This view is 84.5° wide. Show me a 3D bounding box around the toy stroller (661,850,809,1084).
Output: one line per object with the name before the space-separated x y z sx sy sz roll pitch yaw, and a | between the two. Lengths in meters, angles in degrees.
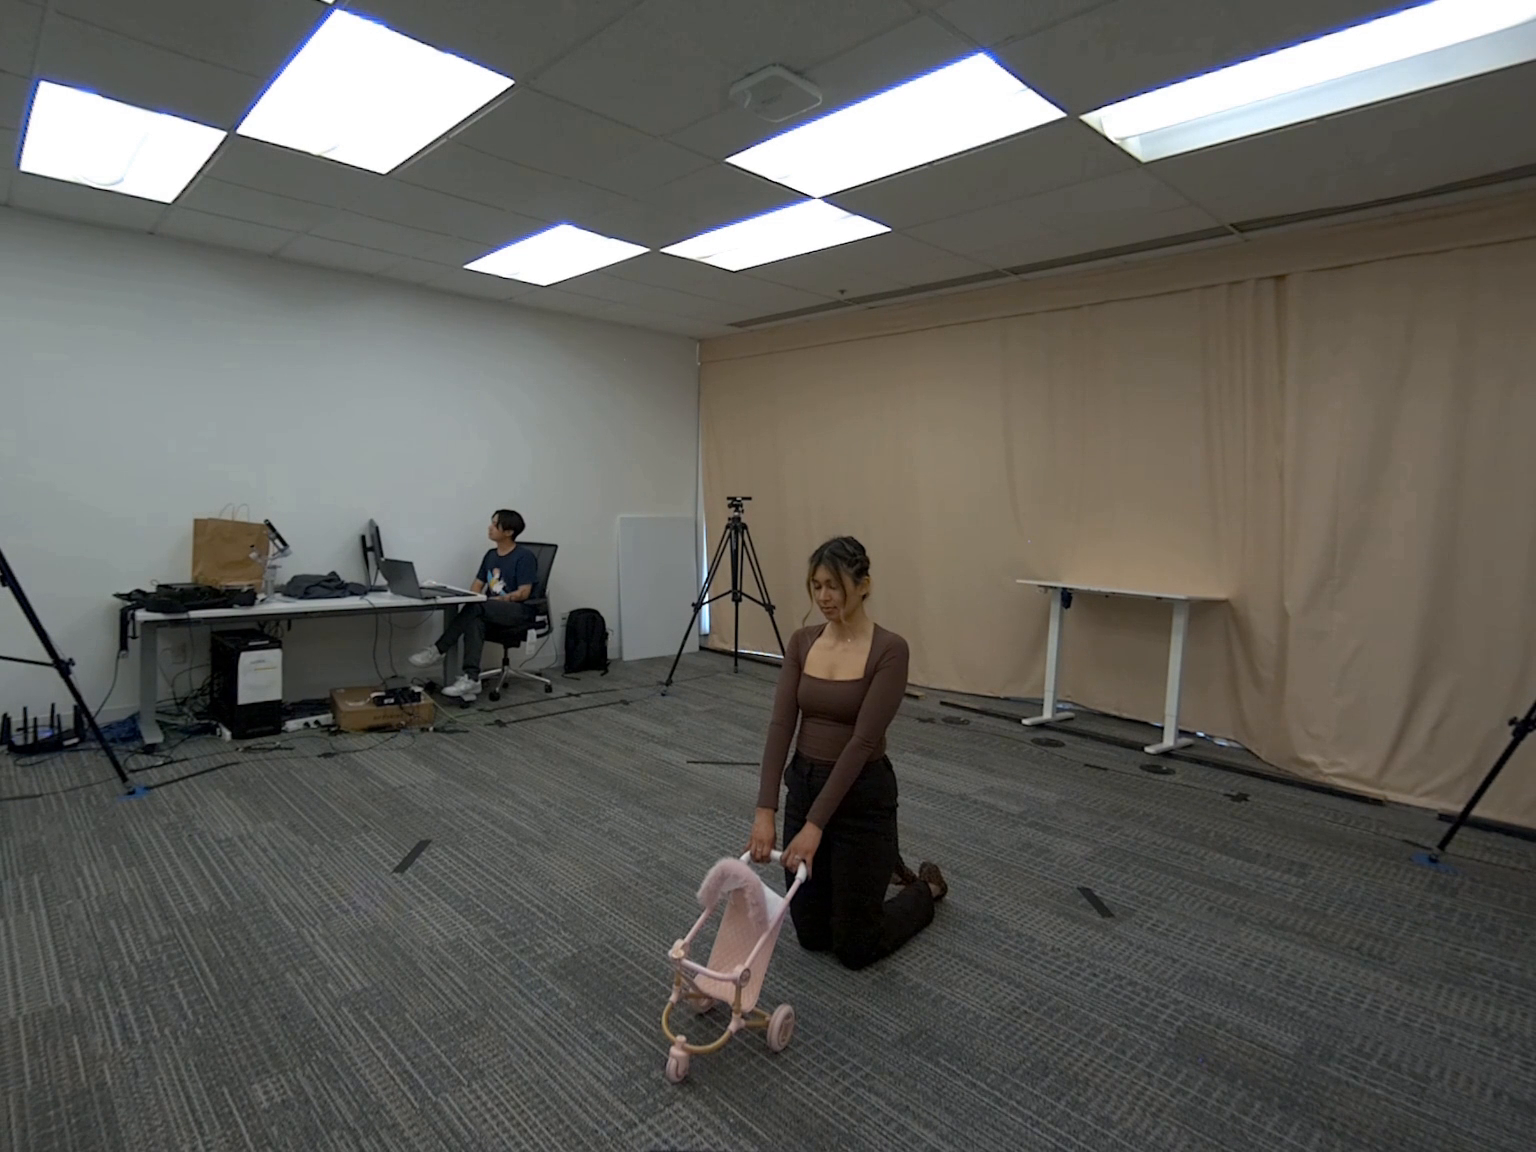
toy stroller | -0.106 0.974 2.148 0.288 0.538 0.331 4 -13 40
